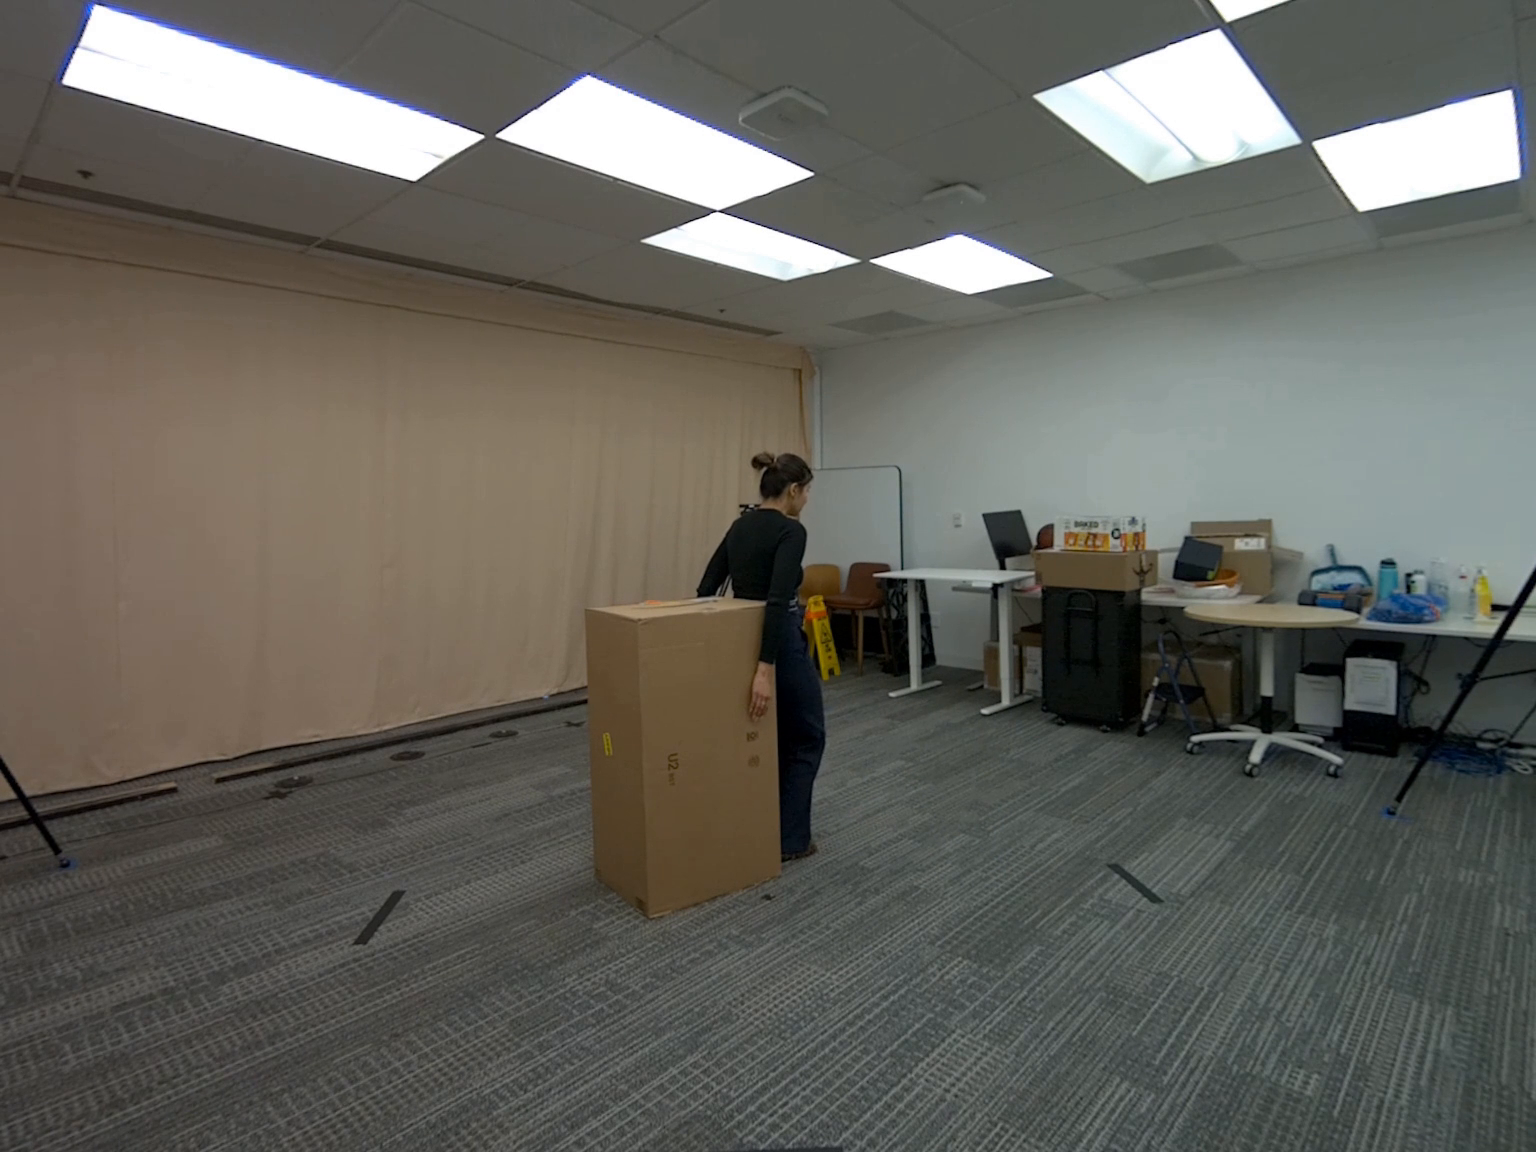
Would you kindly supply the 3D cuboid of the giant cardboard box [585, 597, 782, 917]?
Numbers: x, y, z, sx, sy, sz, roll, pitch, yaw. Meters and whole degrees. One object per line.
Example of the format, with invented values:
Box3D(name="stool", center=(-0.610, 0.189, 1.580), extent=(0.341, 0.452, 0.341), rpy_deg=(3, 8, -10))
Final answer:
Box3D(name="giant cardboard box", center=(-0.320, 0.624, 3.138), extent=(0.561, 1.023, 0.439), rpy_deg=(-4, 4, -35))
